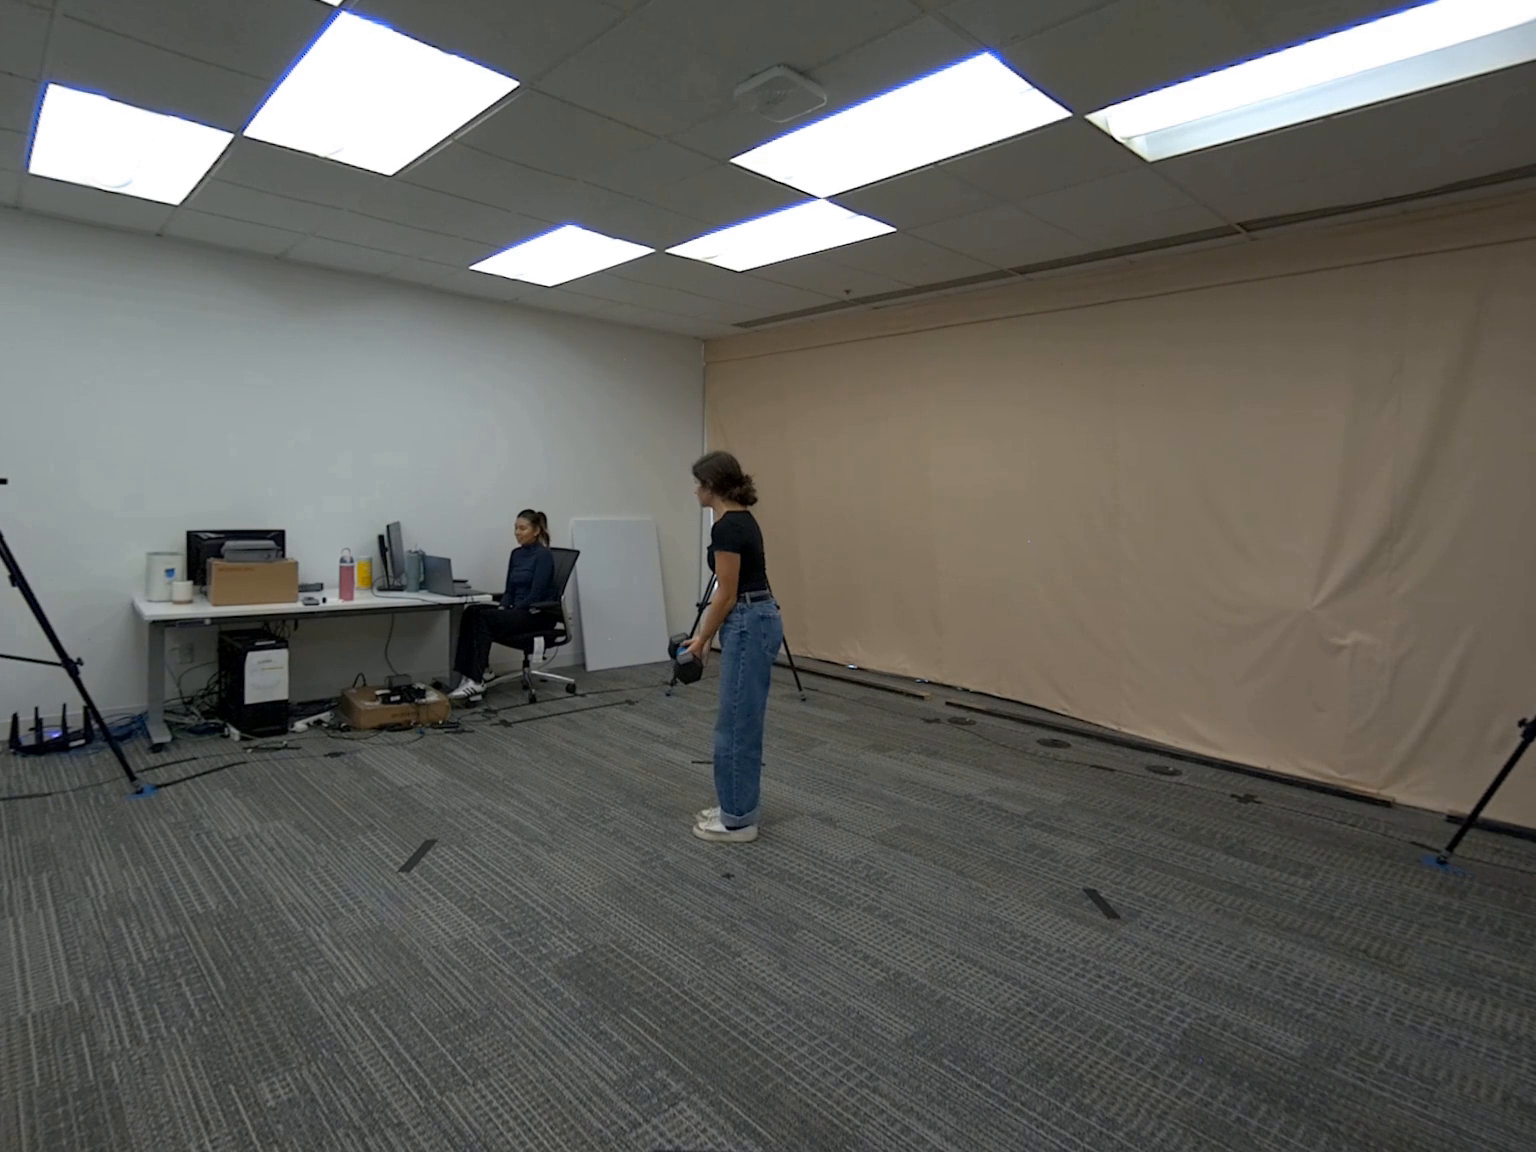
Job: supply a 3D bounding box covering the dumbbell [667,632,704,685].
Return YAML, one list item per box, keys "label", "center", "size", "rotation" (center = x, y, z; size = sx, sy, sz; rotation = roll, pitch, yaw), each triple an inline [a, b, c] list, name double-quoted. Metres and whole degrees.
- label: "dumbbell"
  center: [-0.355, 0.329, 3.452]
  size: [0.107, 0.122, 0.299]
  rotation: [13, 13, -13]
